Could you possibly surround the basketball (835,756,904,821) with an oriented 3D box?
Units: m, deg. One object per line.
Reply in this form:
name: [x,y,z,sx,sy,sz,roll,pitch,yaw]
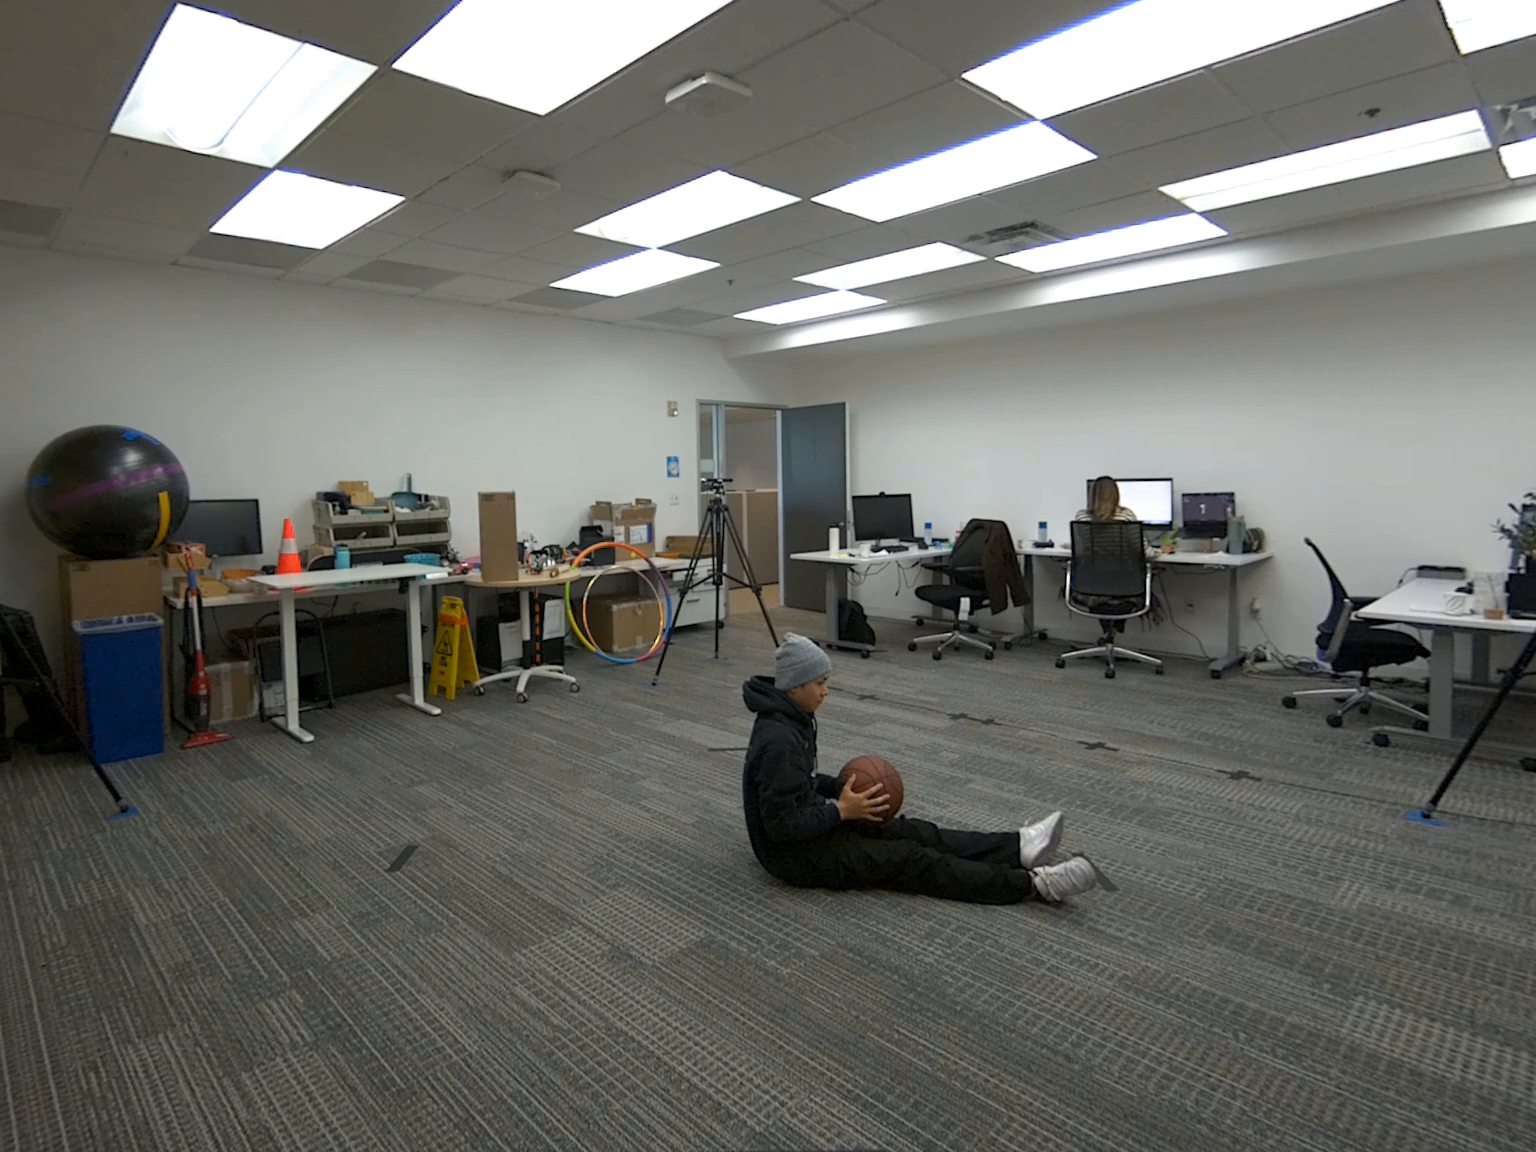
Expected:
basketball: [0.354,0.750,3.010,0.236,0.235,0.237,-1,5,-2]
